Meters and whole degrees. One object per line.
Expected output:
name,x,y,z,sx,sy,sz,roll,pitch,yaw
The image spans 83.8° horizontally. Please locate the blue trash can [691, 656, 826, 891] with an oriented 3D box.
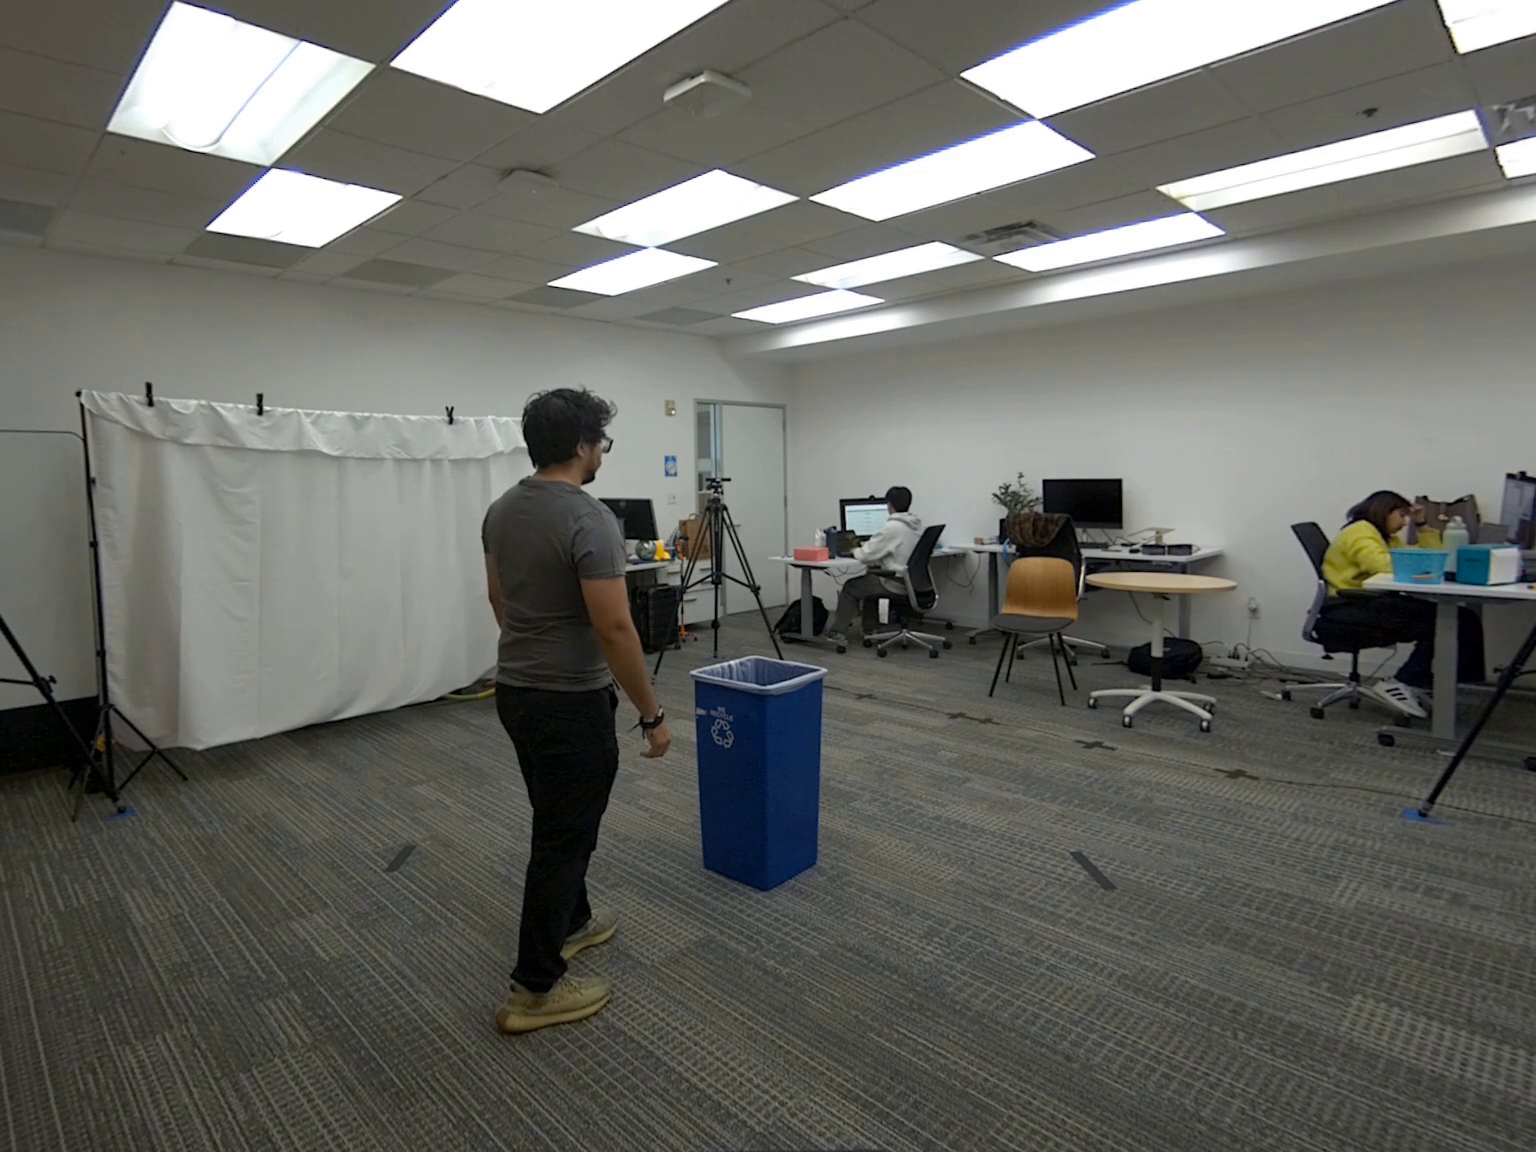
blue trash can,-0.022,0.688,3.063,0.385,0.711,0.368,3,6,41
